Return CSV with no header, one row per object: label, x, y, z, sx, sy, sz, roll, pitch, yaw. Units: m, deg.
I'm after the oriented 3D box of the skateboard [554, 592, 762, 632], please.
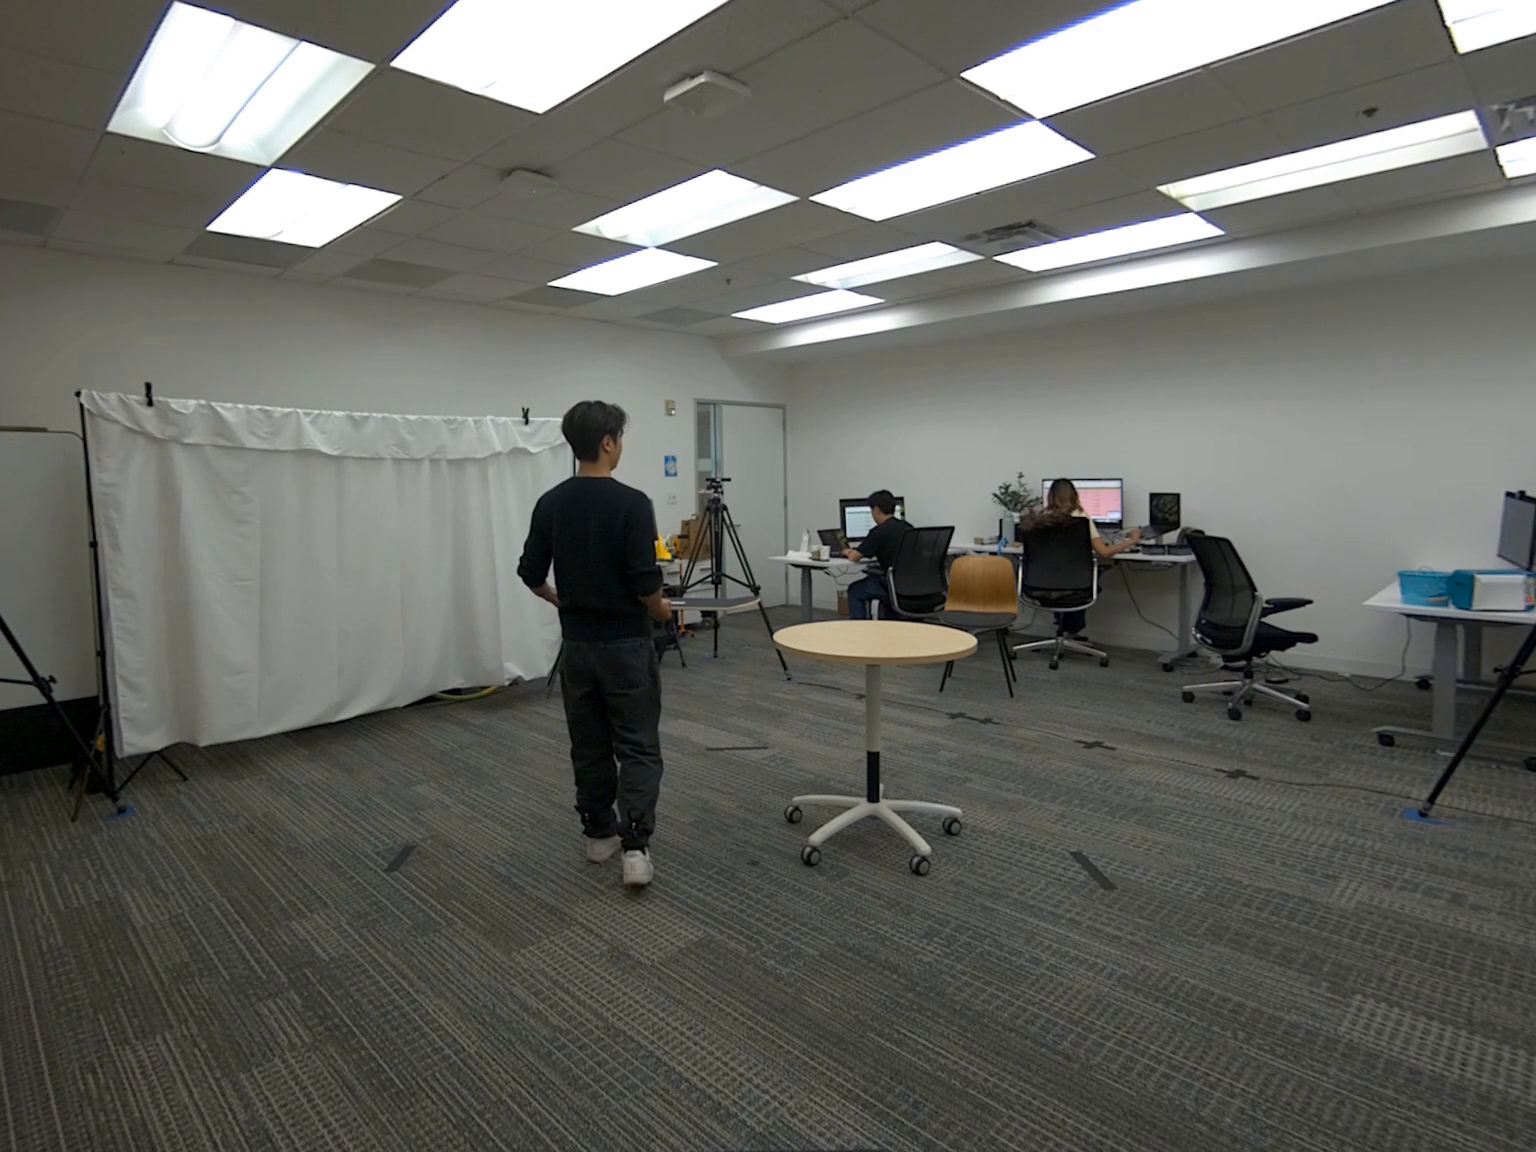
skateboard,-0.425,0.137,3.359,0.786,0.109,0.195,0,10,1
